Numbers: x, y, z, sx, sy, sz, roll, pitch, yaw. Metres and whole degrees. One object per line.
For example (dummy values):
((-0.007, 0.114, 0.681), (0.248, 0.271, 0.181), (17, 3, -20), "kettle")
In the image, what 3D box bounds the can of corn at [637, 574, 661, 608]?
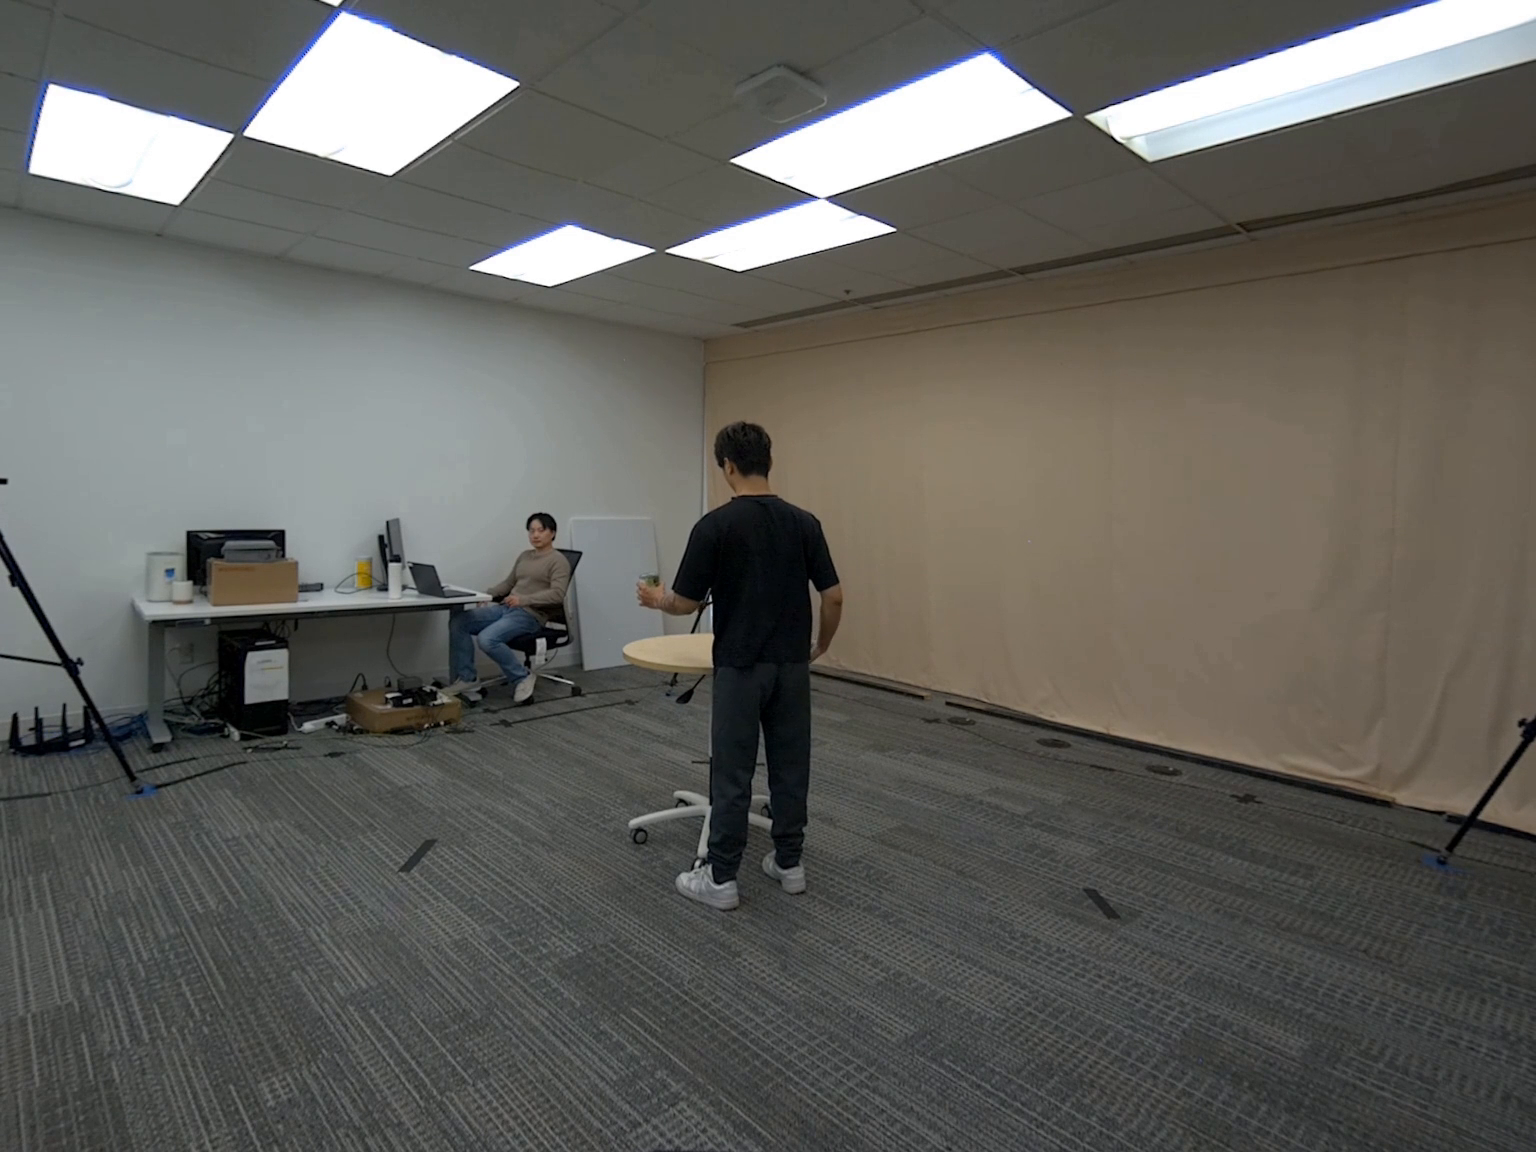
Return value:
((-0.437, 0.053, 3.126), (0.074, 0.111, 0.074), (-5, 3, -1), "can of corn")
